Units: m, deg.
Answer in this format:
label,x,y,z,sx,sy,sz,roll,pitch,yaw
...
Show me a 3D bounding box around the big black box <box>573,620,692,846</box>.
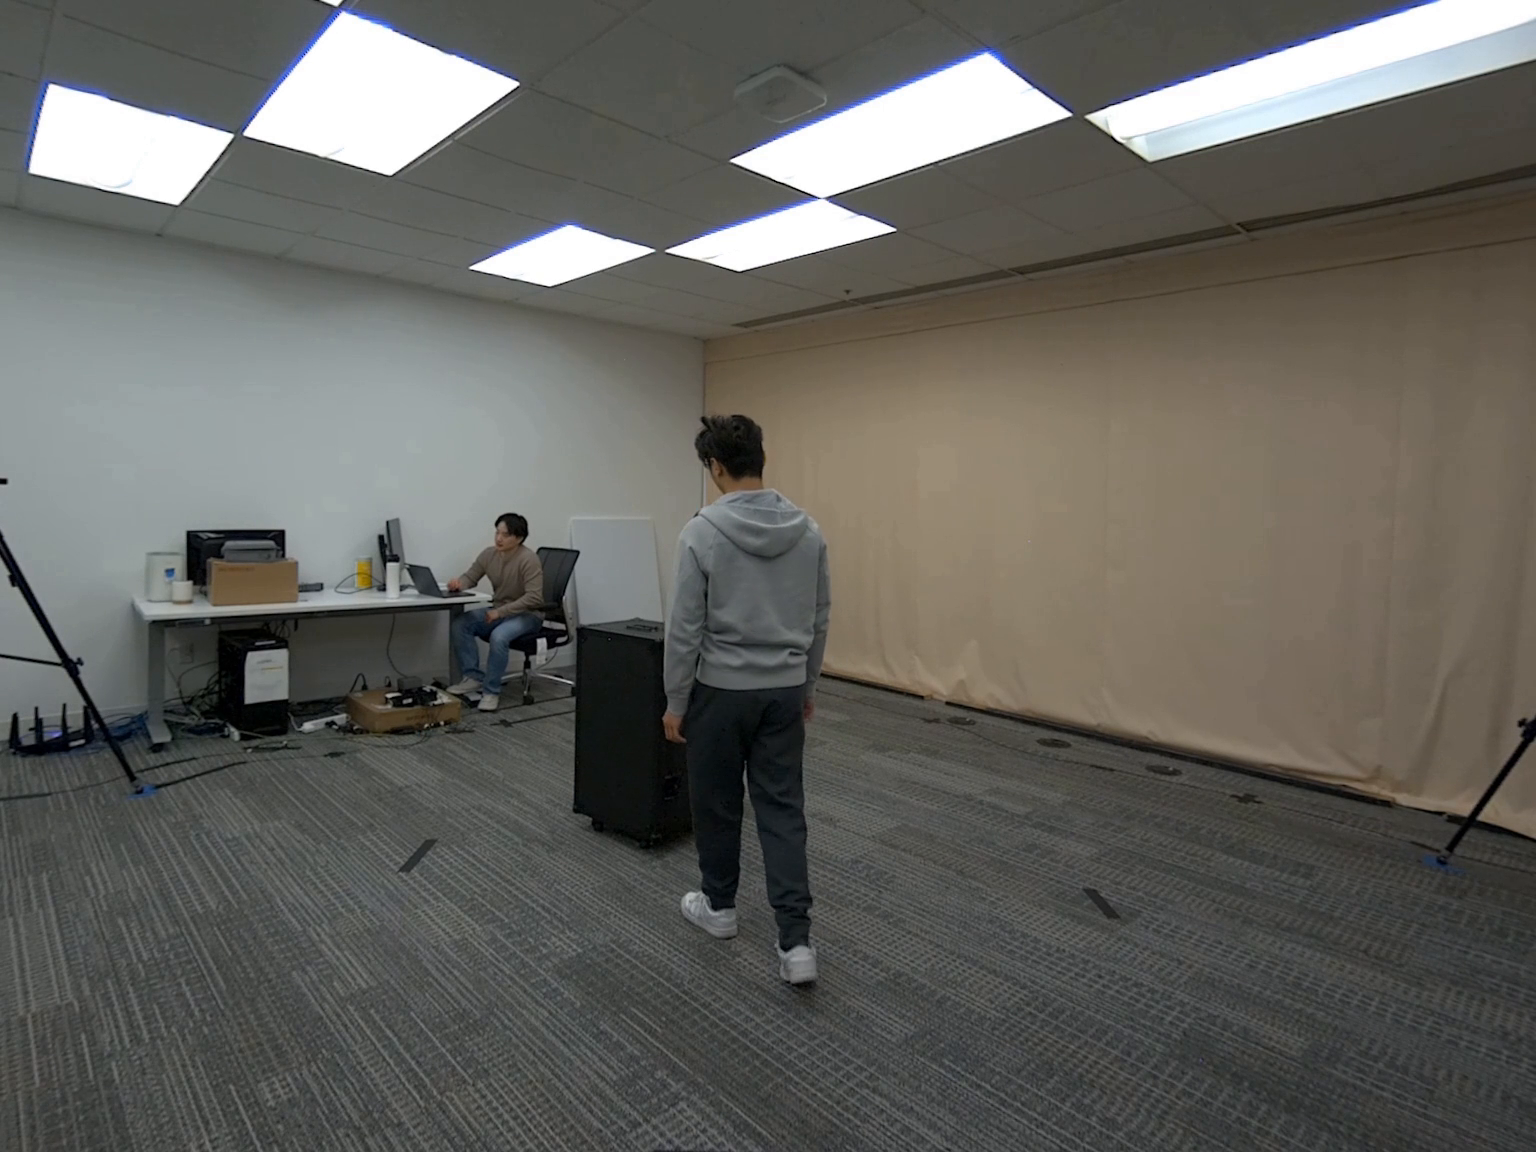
label,x,y,z,sx,sy,sz,roll,pitch,yaw
big black box,-0.513,0.640,3.495,0.534,0.860,0.387,4,3,37
